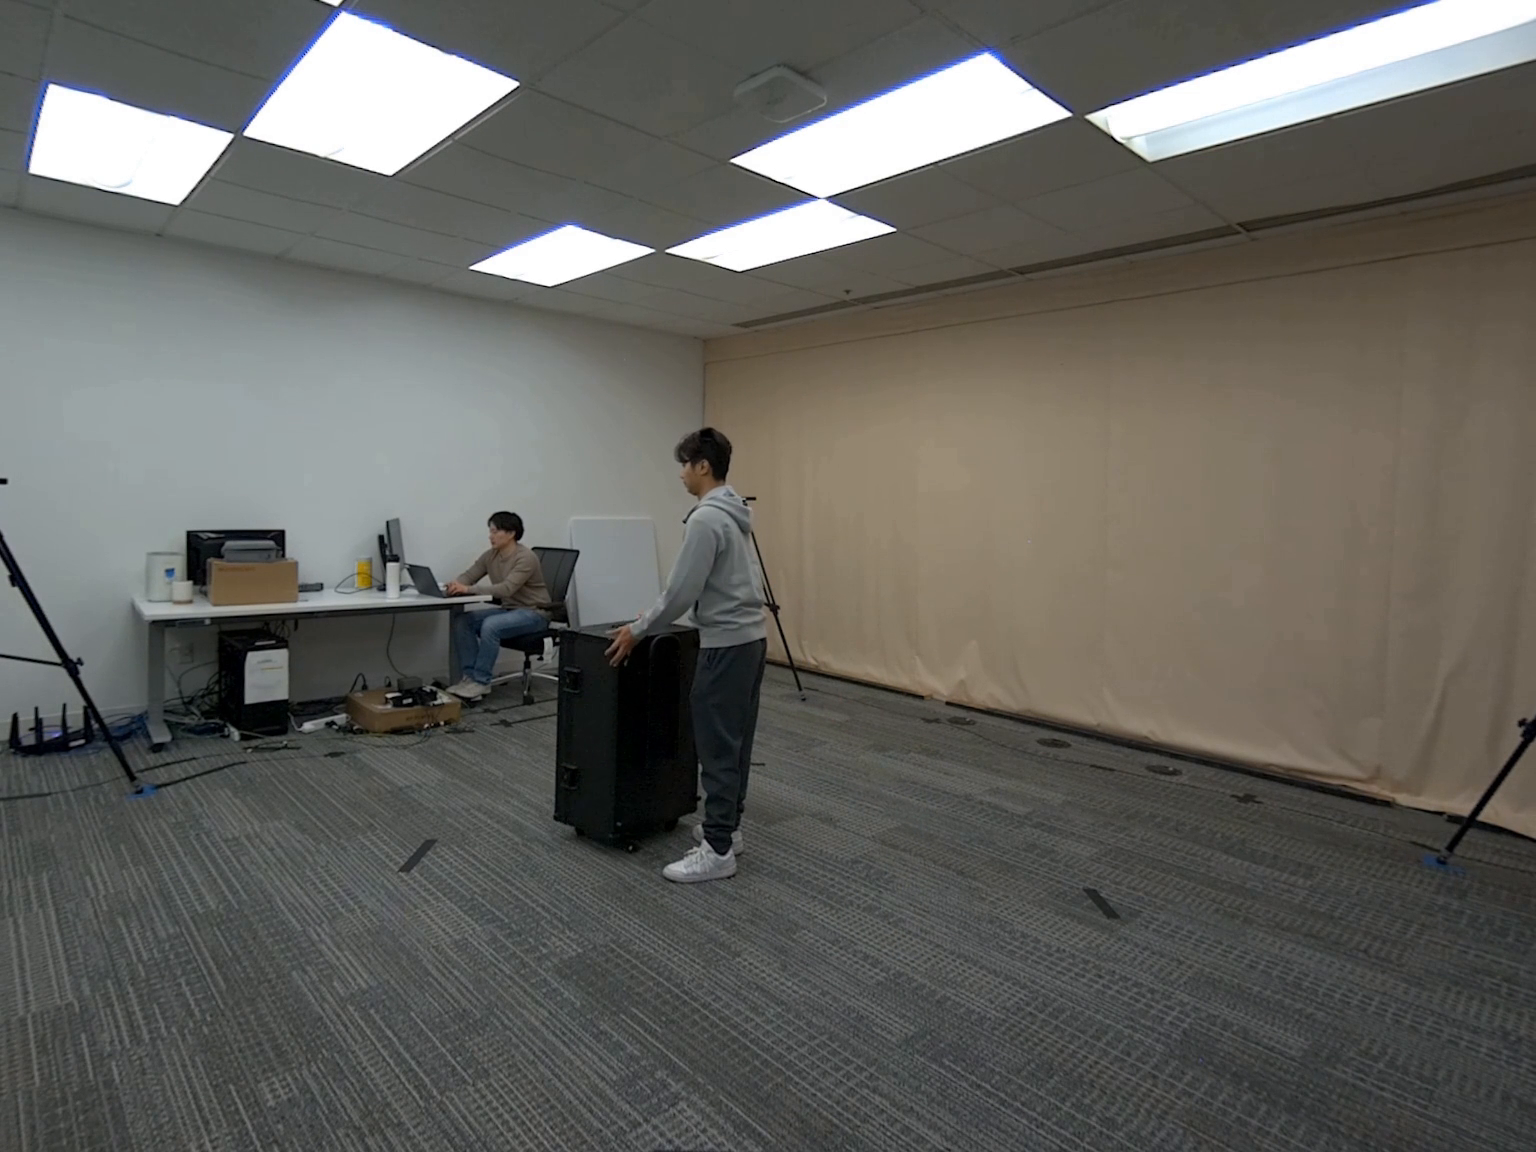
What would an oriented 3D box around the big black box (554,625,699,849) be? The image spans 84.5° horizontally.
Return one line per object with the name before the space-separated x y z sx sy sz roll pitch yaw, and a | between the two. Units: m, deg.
big black box | -0.567 0.636 3.470 0.406 0.859 0.509 5 5 38
